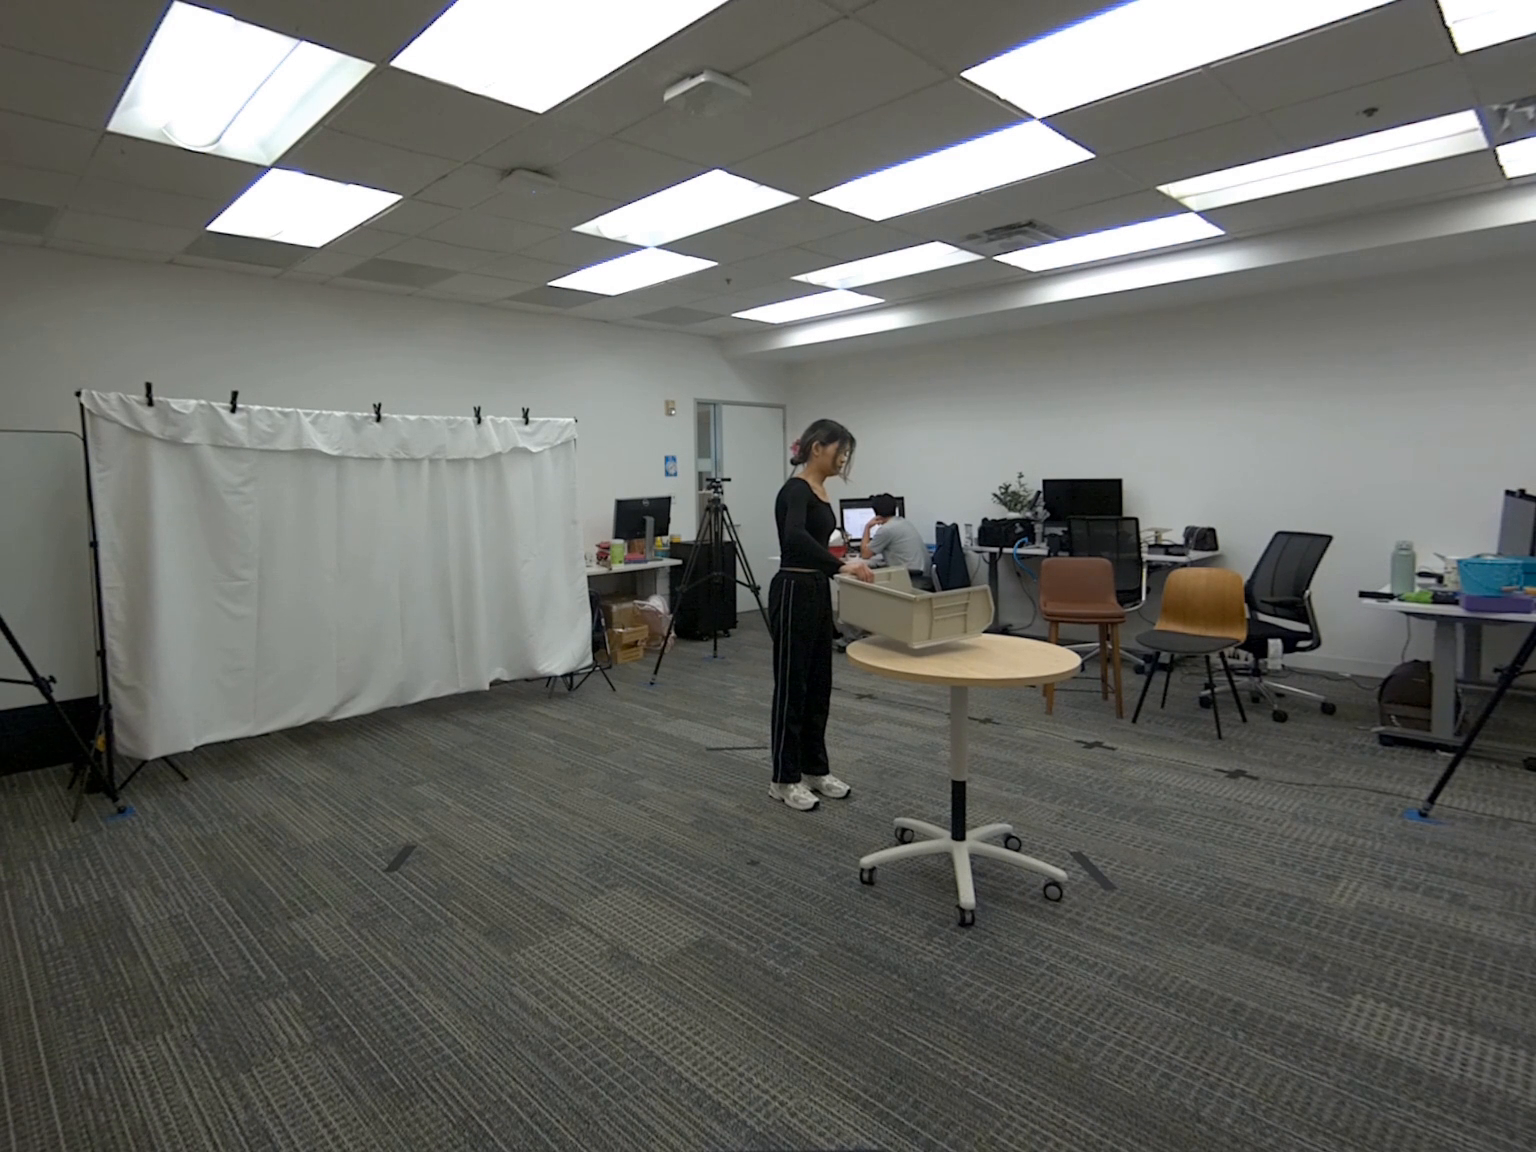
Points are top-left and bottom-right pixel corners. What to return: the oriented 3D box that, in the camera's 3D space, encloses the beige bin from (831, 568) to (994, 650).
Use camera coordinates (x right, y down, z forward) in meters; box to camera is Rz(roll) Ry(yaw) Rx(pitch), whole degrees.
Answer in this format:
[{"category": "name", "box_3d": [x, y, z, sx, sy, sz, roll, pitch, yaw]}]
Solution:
[{"category": "beige bin", "box_3d": [0.518, 0.099, 3.050, 0.369, 0.187, 0.436, -9, 14, -31]}]
